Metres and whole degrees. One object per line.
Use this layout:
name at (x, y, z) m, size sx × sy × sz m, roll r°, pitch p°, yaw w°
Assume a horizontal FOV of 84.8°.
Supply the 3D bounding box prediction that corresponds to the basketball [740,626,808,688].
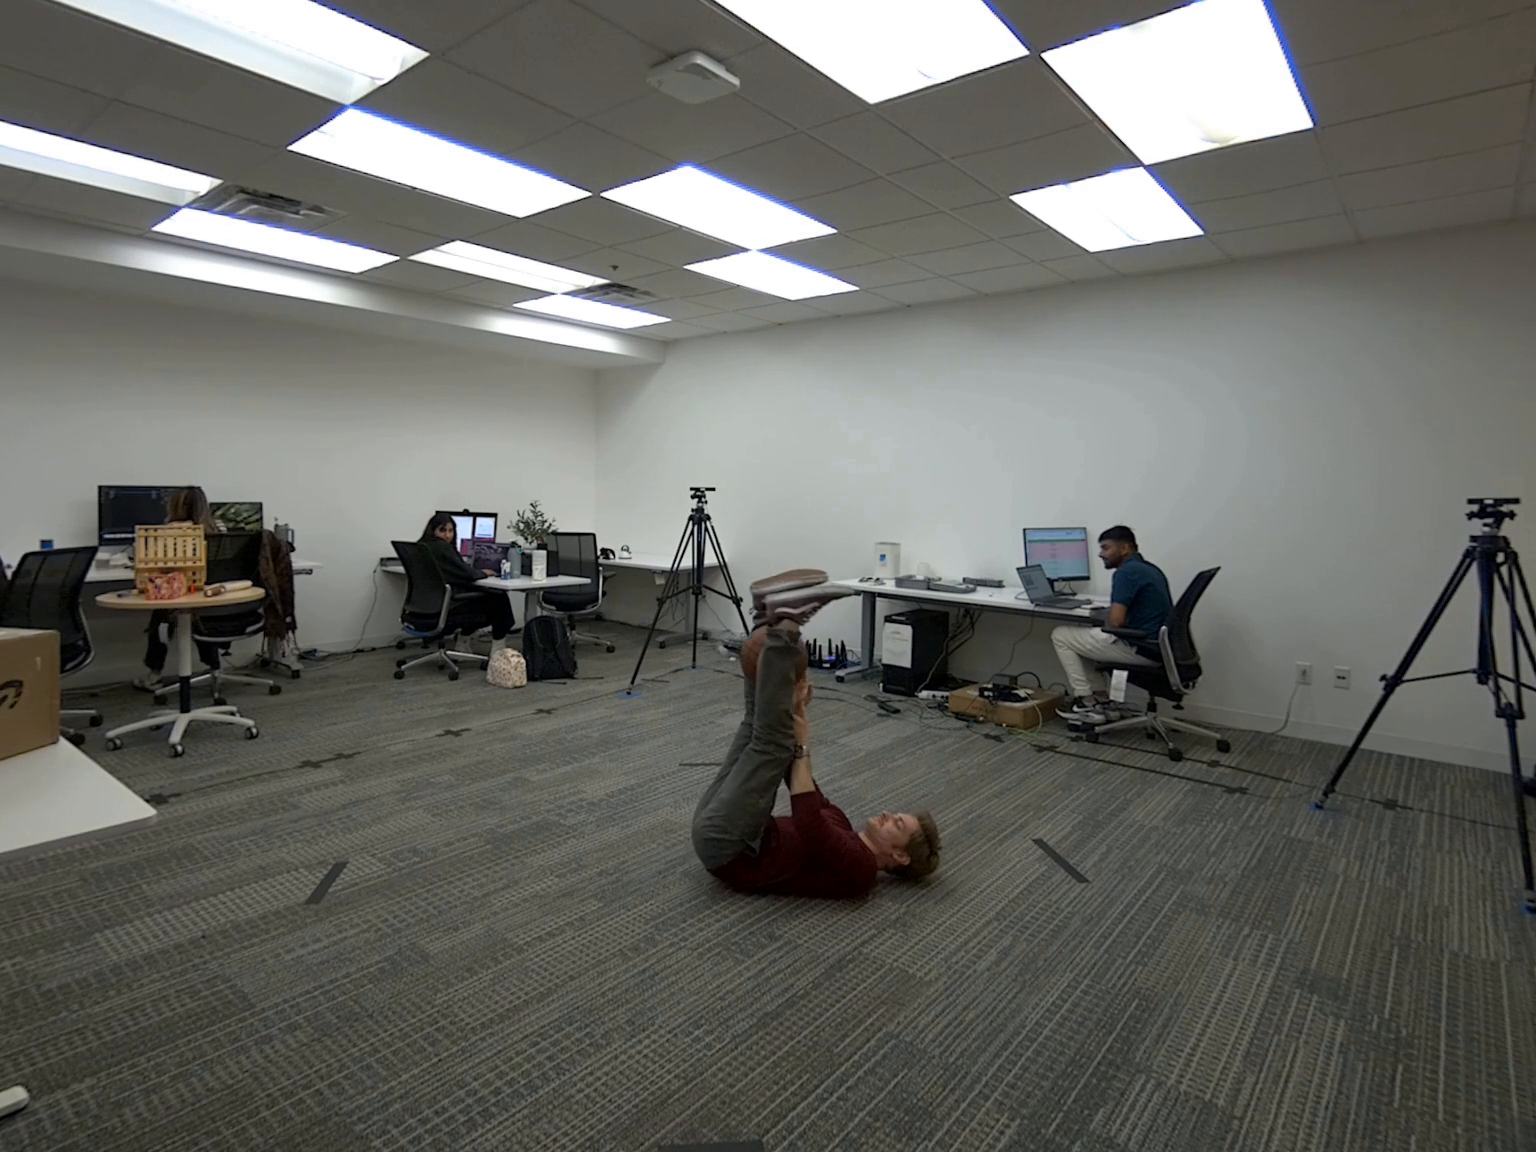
basketball at (0.004, 0.289, 3.006) m, size 0.235 × 0.235 × 0.237 m, roll 1°, pitch 4°, yaw -2°
